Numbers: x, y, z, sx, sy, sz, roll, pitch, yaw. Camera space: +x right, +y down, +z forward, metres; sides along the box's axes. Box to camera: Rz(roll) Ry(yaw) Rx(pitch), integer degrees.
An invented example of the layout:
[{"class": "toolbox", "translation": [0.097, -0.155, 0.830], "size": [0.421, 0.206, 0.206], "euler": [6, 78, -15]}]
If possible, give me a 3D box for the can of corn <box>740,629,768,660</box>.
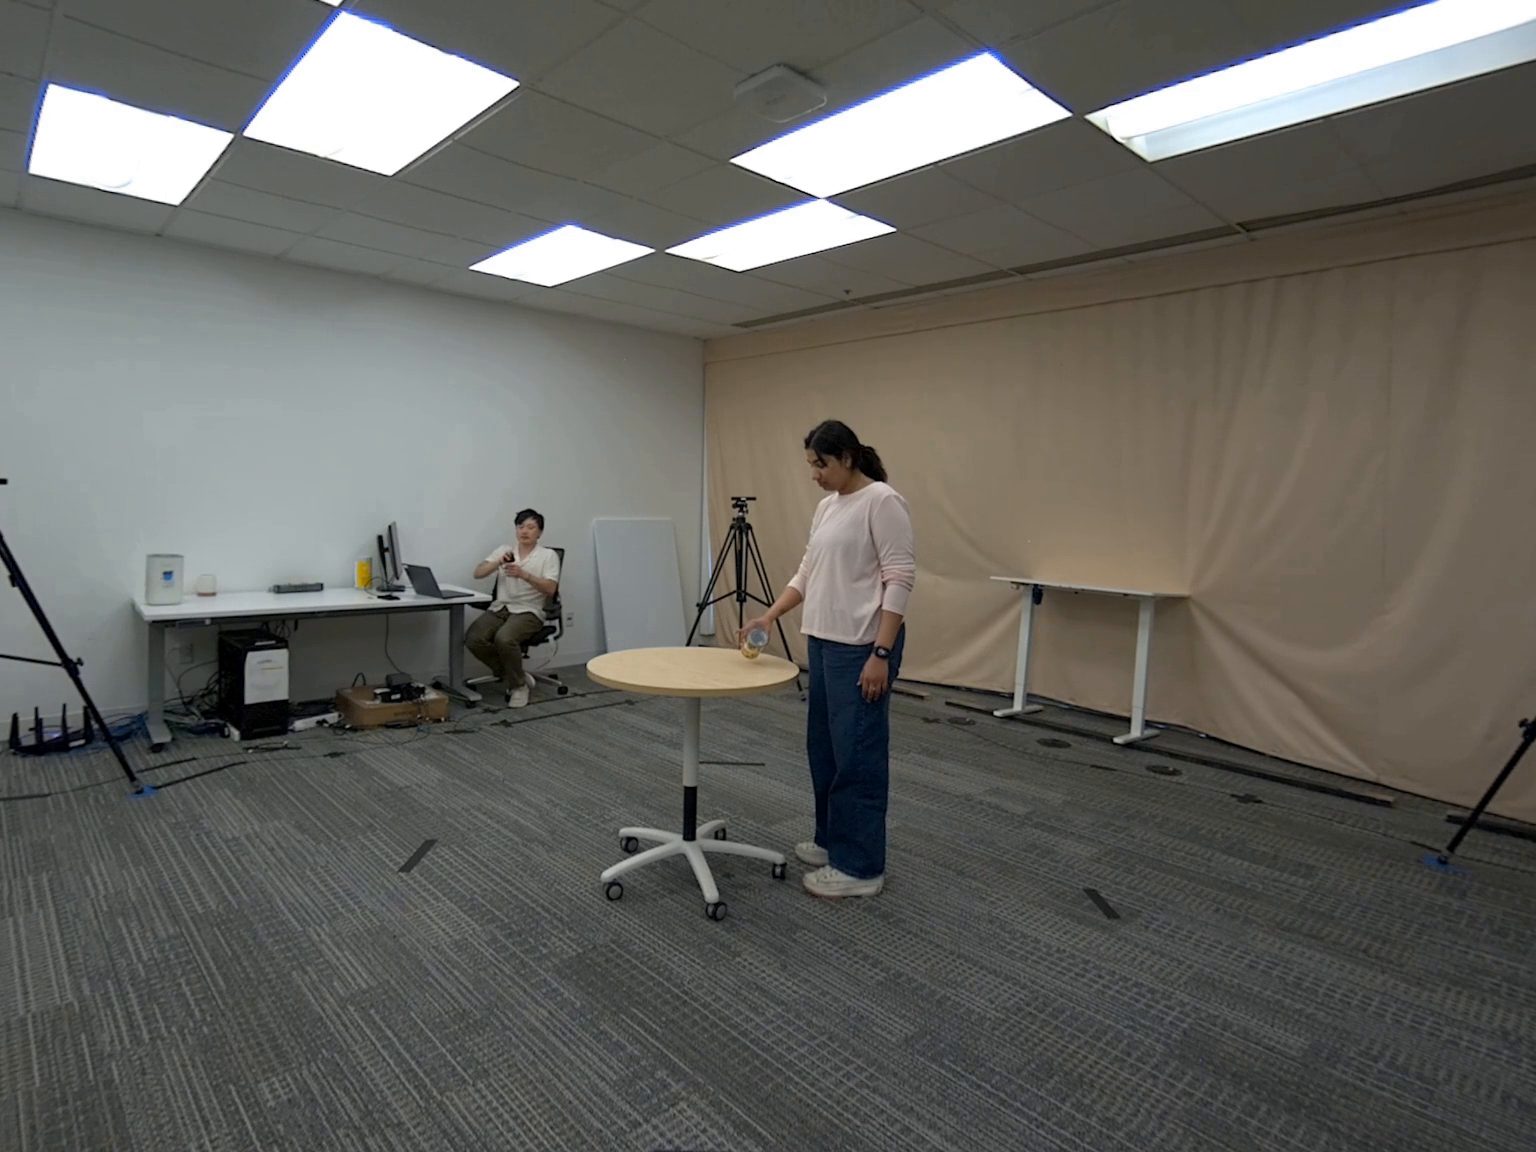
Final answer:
[{"class": "can of corn", "translation": [-0.056, 0.251, 3.106], "size": [0.073, 0.076, 0.110], "euler": [1, -28, -14]}]
